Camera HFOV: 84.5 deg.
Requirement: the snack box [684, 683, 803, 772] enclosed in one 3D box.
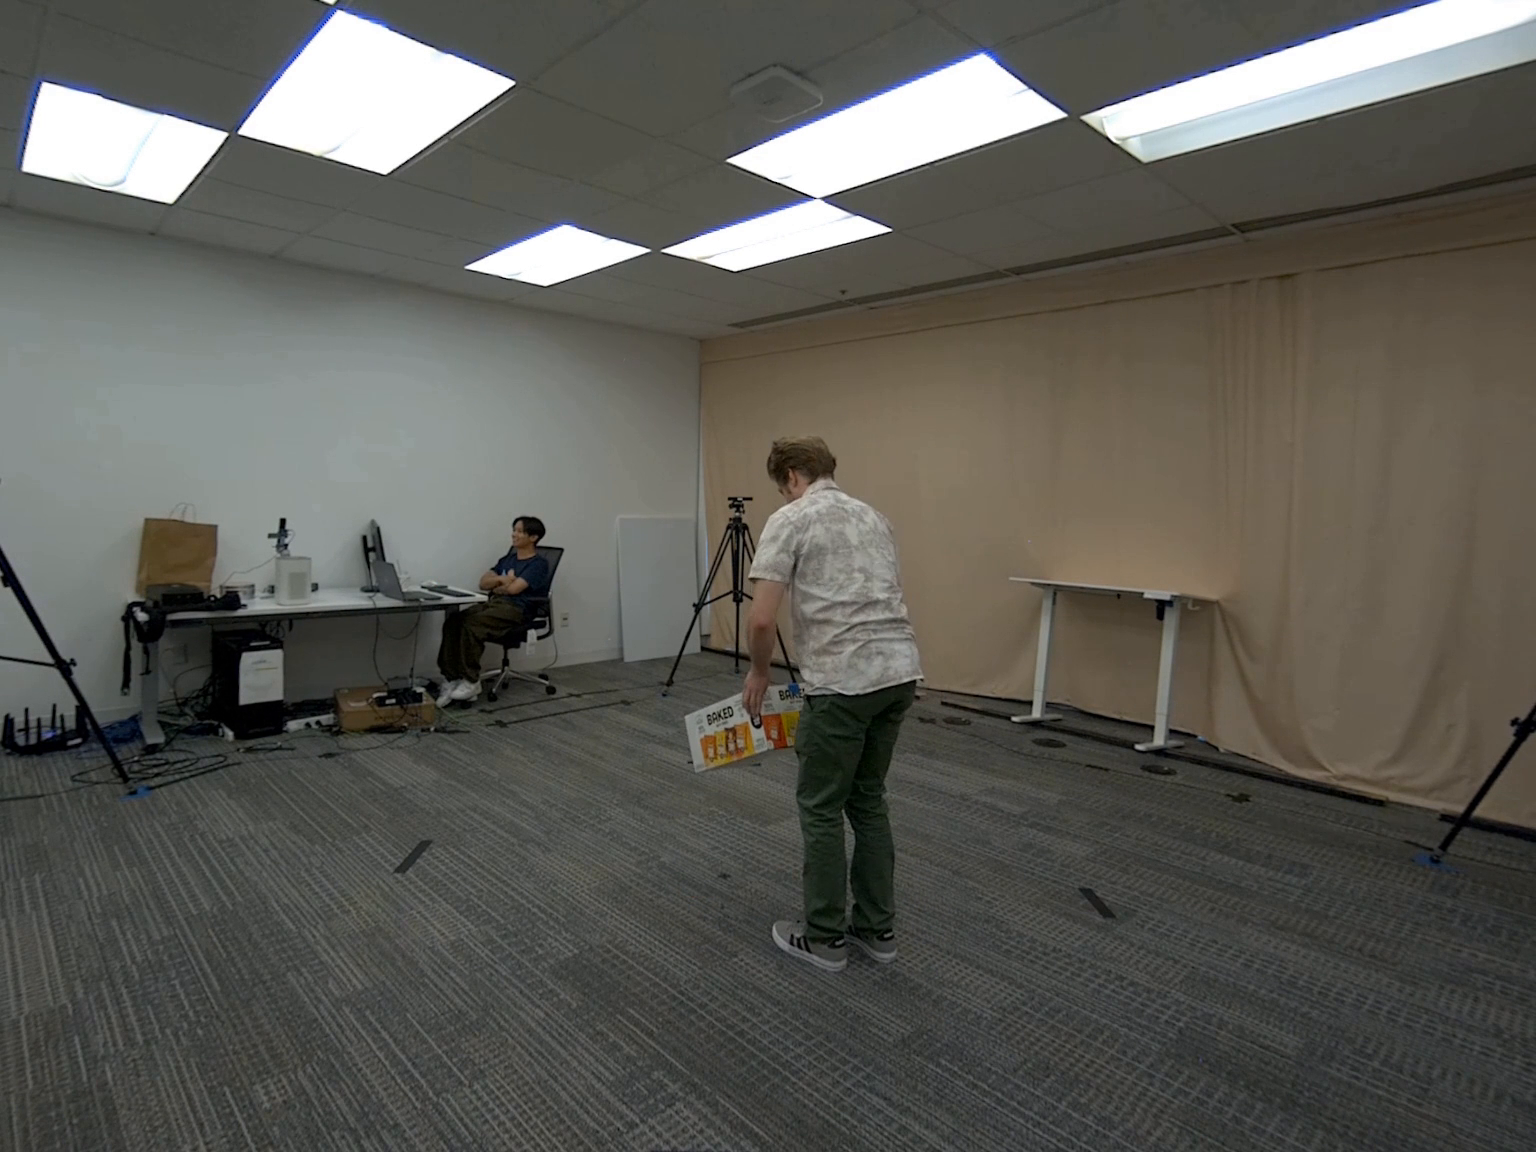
[{"bbox_3d":[-0.028,0.533,2.924,0.332,0.209,0.409,2,-22,-40],"label":"snack box"}]
